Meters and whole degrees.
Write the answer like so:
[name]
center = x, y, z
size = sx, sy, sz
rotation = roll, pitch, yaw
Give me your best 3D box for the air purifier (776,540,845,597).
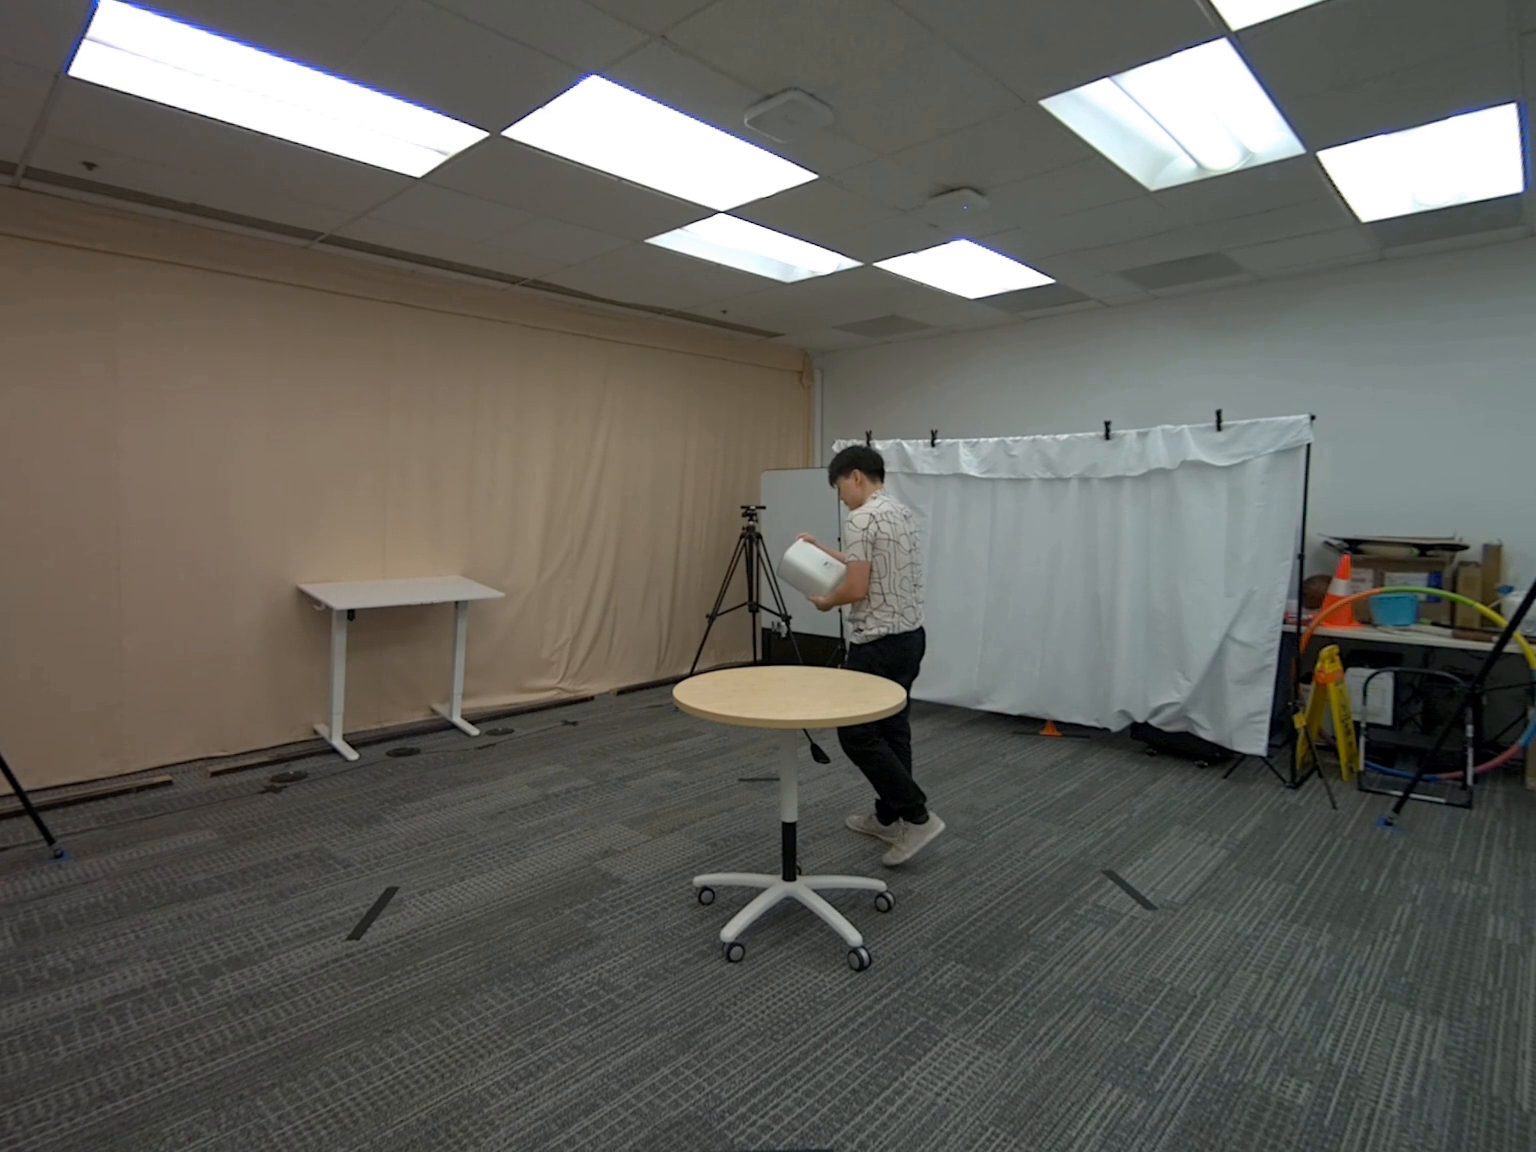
[air purifier]
center = 0.202, -0.010, 3.640
size = 0.272, 0.169, 0.169
rotation = 34, 49, 20
